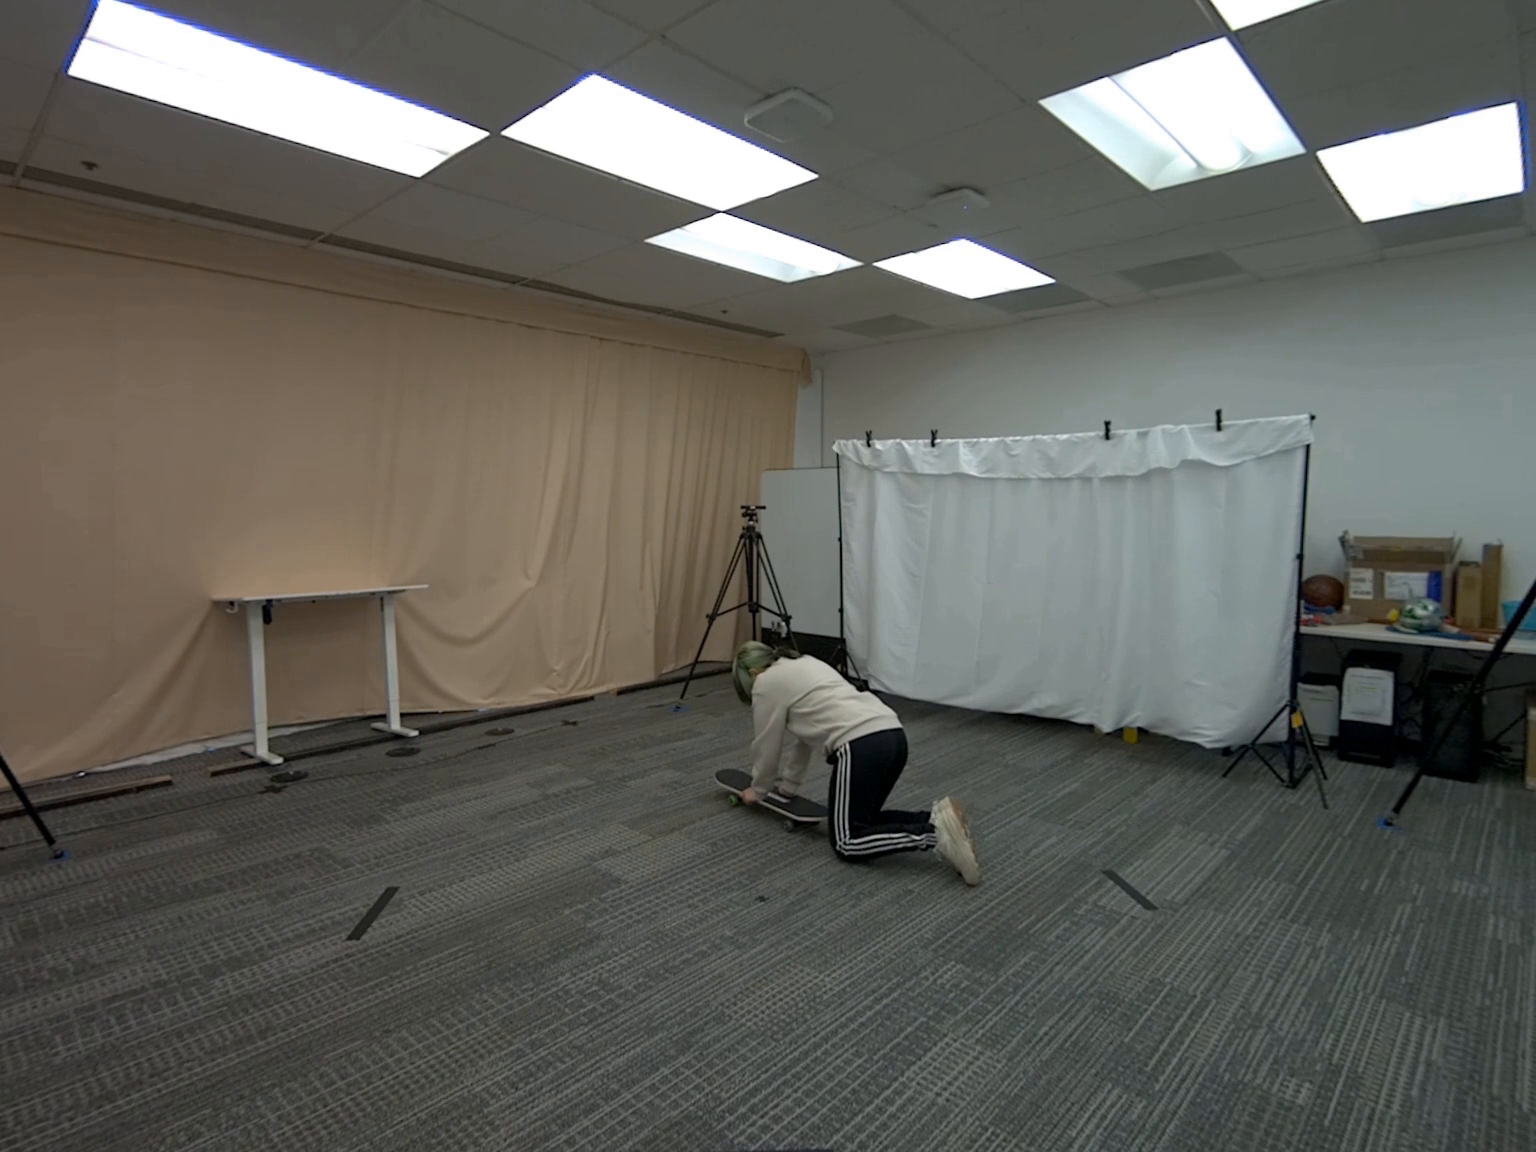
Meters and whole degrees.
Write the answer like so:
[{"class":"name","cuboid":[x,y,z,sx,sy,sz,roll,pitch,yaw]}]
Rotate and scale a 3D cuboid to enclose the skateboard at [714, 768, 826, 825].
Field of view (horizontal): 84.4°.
[{"class":"skateboard","cuboid":[0.026,1.021,3.804,0.188,0.110,0.811,-2,5,-37]}]
